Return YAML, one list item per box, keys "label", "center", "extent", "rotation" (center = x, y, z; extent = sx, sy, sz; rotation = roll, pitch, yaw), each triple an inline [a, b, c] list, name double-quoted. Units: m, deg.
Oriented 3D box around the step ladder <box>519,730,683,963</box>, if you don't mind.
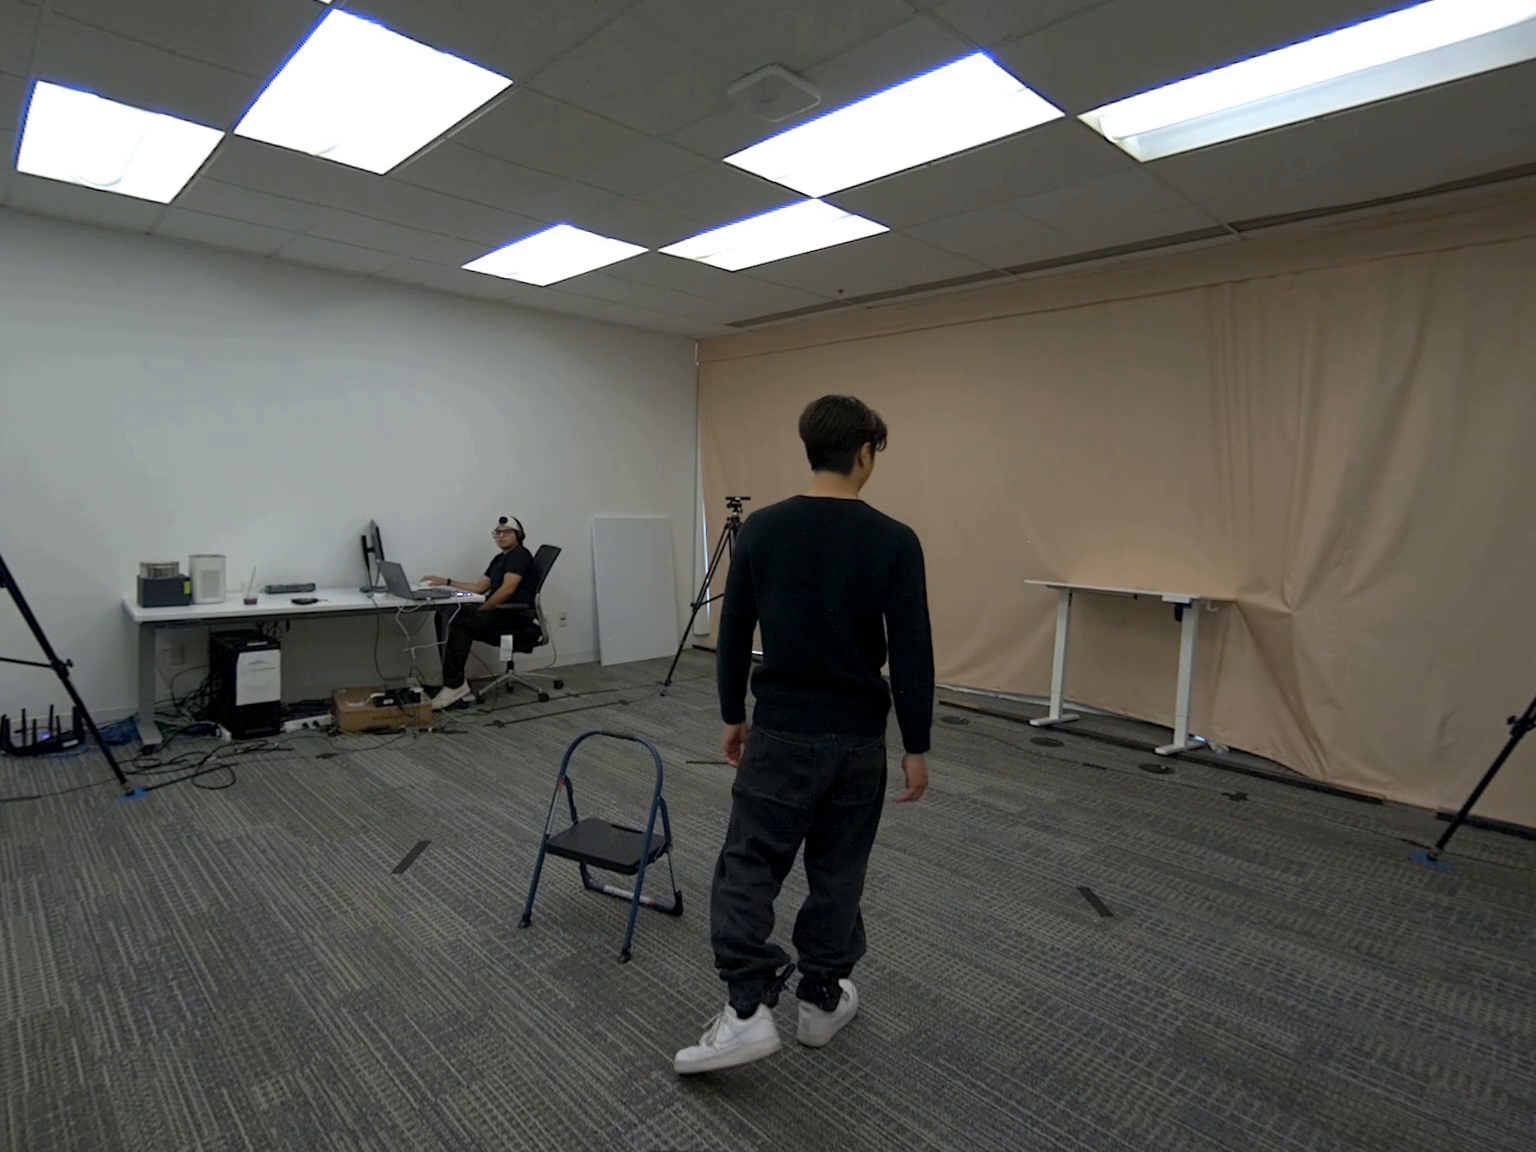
- label: "step ladder"
  center: [-0.536, 0.830, 2.738]
  extent: [0.440, 0.604, 0.343]
  rotation: [4, 5, 28]
